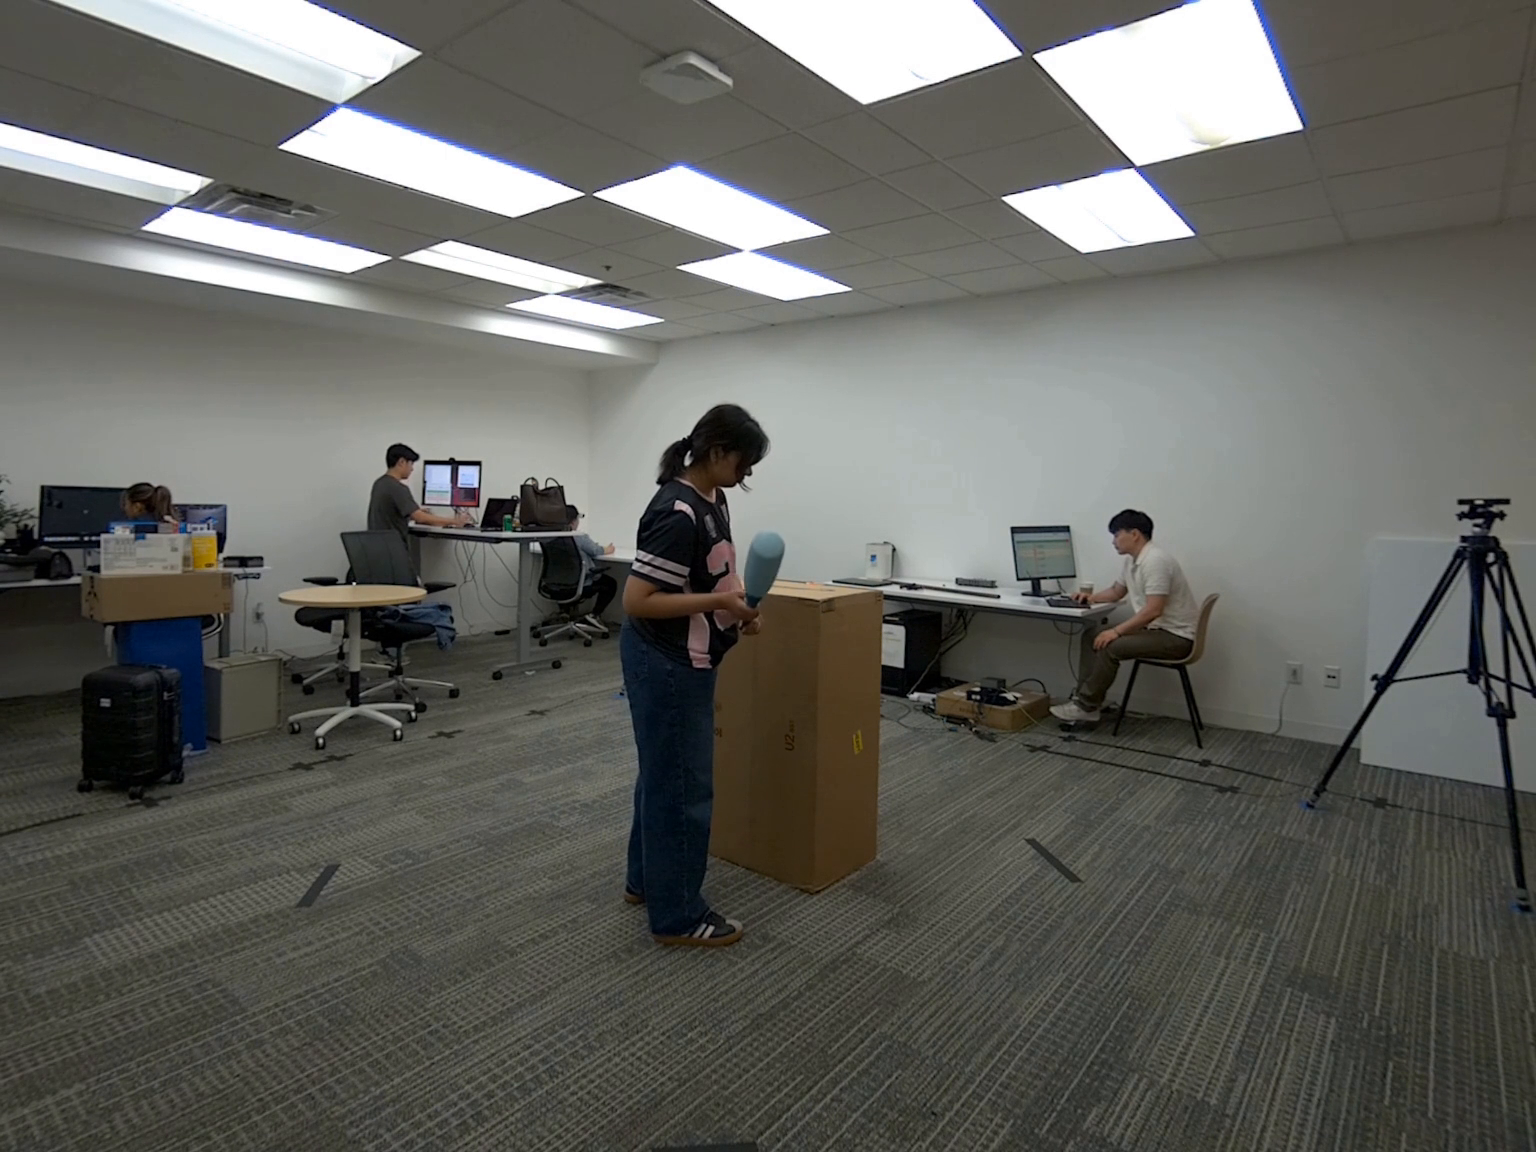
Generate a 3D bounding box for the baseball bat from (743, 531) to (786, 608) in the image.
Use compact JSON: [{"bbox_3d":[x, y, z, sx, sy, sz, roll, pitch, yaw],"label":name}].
[{"bbox_3d":[-0.040,0.044,2.335,0.088,0.091,0.534,1,-27,-8],"label":"baseball bat"}]
